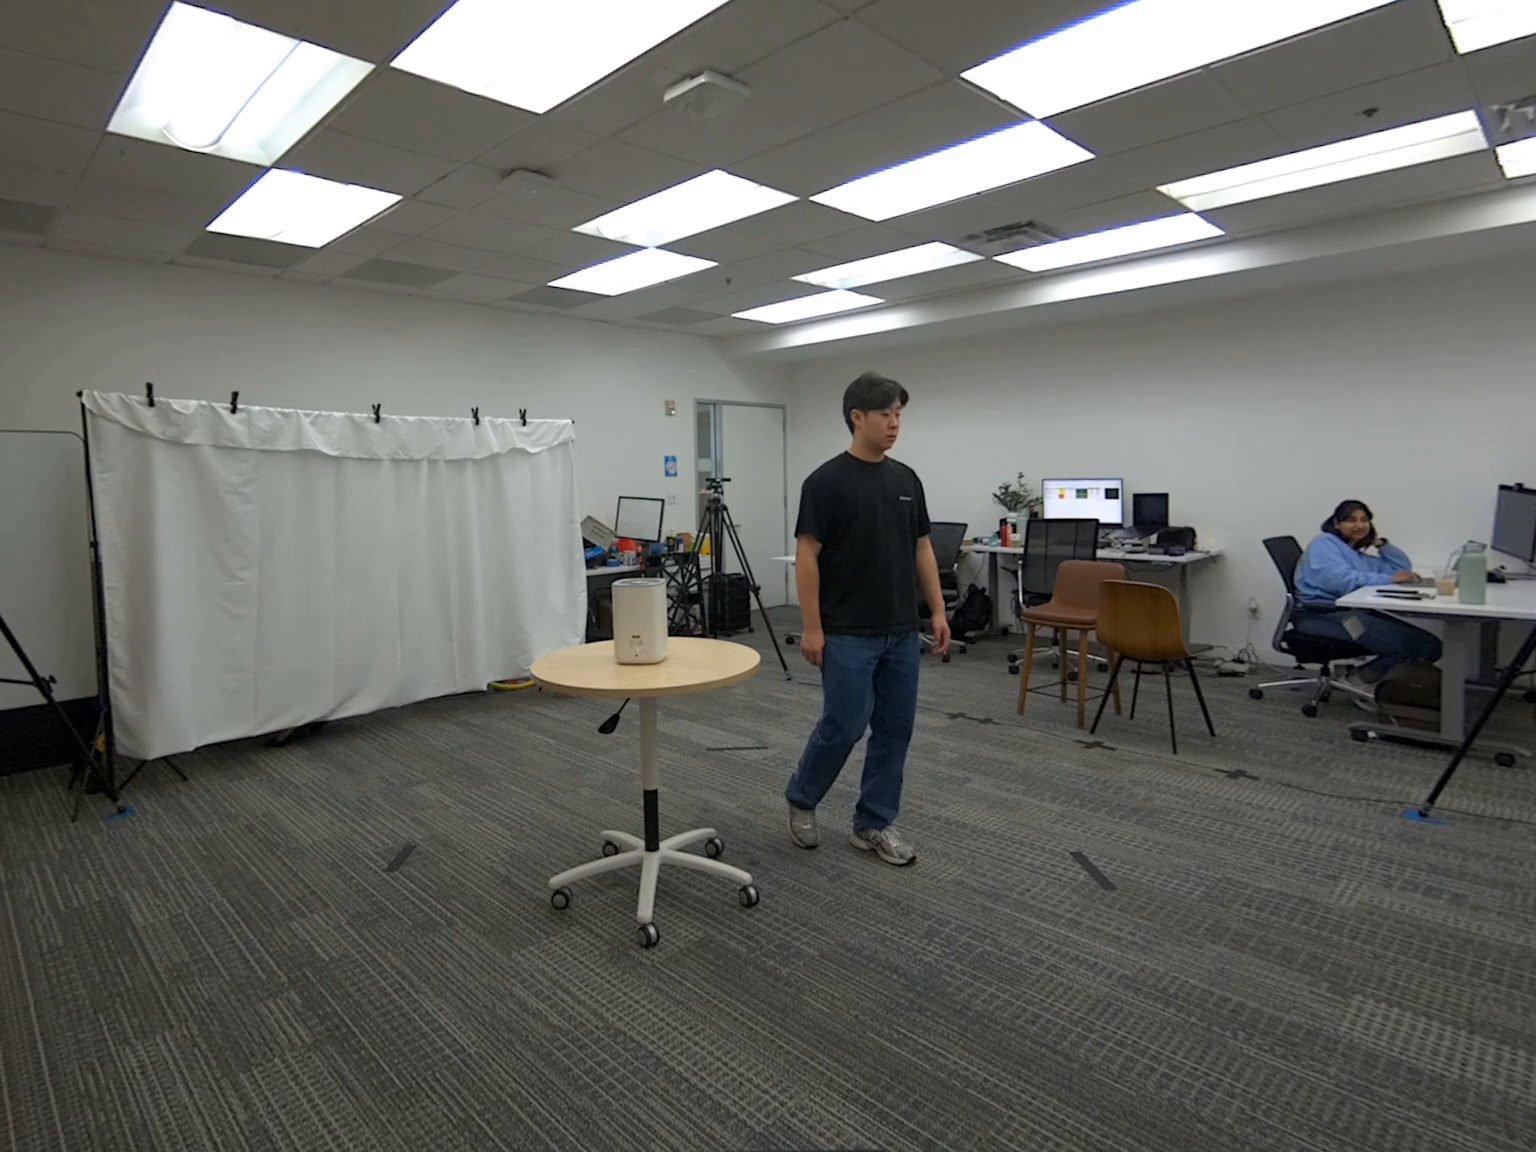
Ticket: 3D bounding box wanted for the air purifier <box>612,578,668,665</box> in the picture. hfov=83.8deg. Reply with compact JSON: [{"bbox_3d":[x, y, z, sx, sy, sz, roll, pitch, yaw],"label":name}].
[{"bbox_3d":[-0.425,0.152,2.848,0.172,0.264,0.171,0,4,7],"label":"air purifier"}]
